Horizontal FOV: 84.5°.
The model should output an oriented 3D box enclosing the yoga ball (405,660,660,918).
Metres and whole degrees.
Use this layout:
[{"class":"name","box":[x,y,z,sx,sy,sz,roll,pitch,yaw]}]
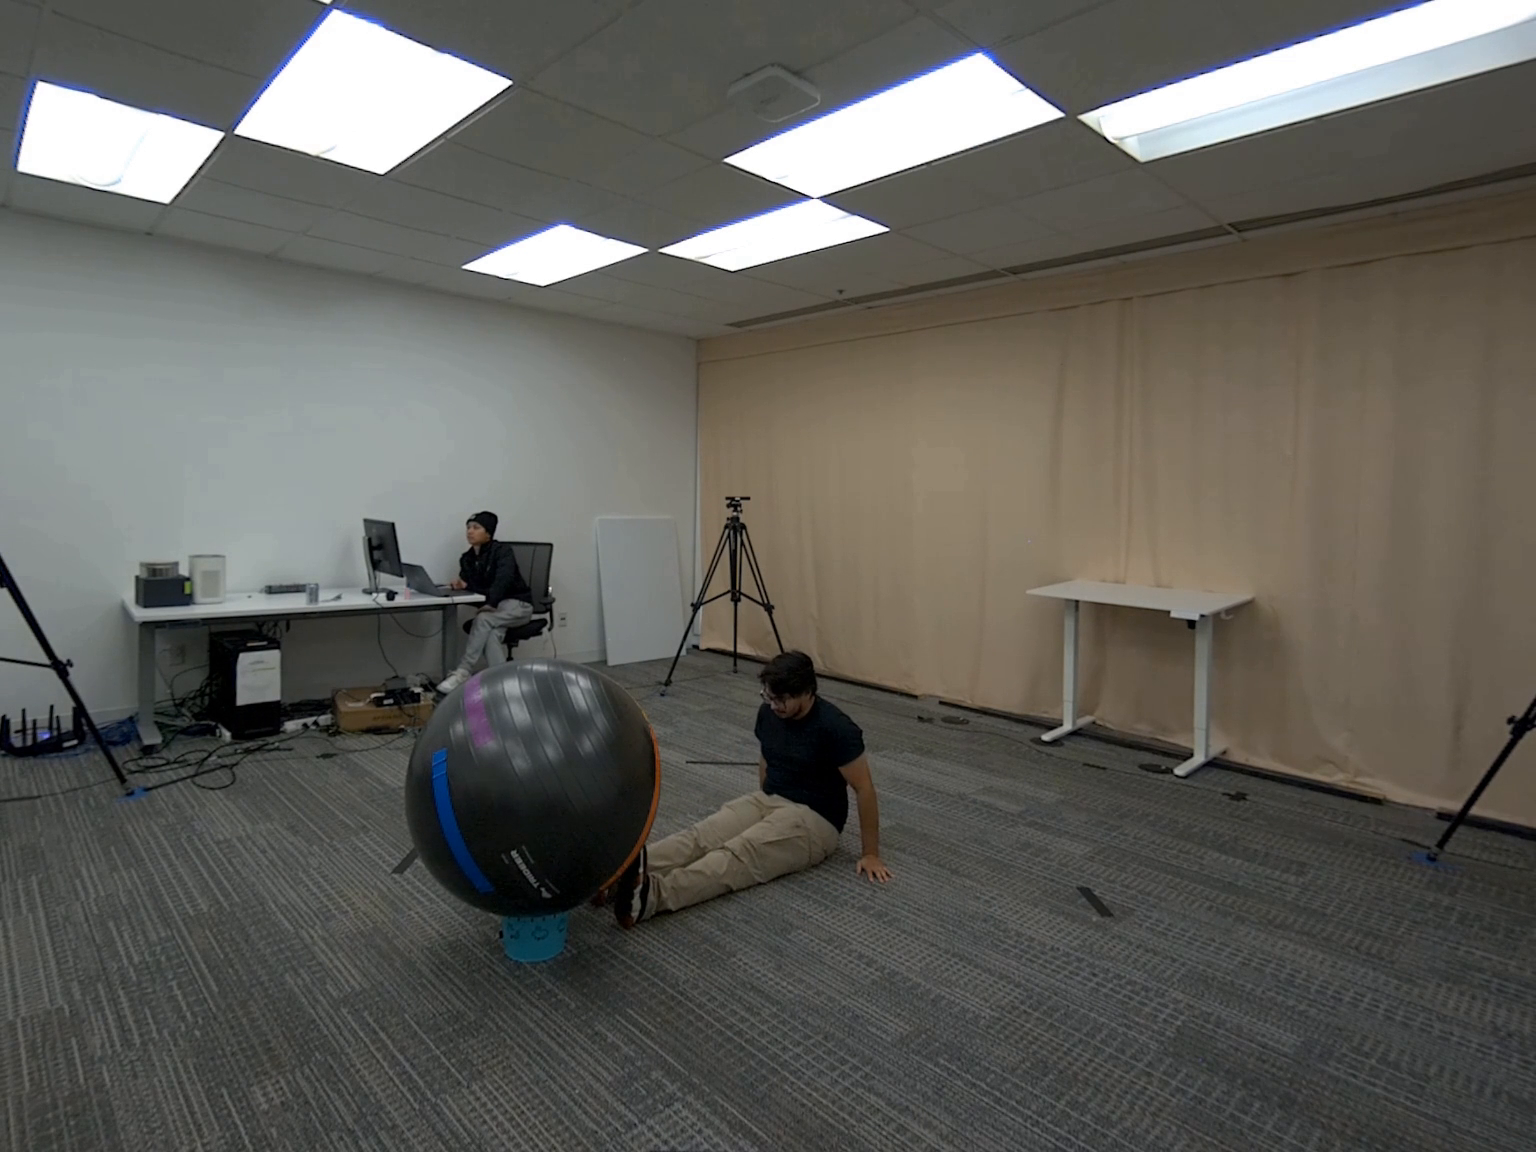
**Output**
[{"class":"yoga ball","box":[-0.713,0.638,2.566,0.757,0.756,0.761,1,4,-1]}]
